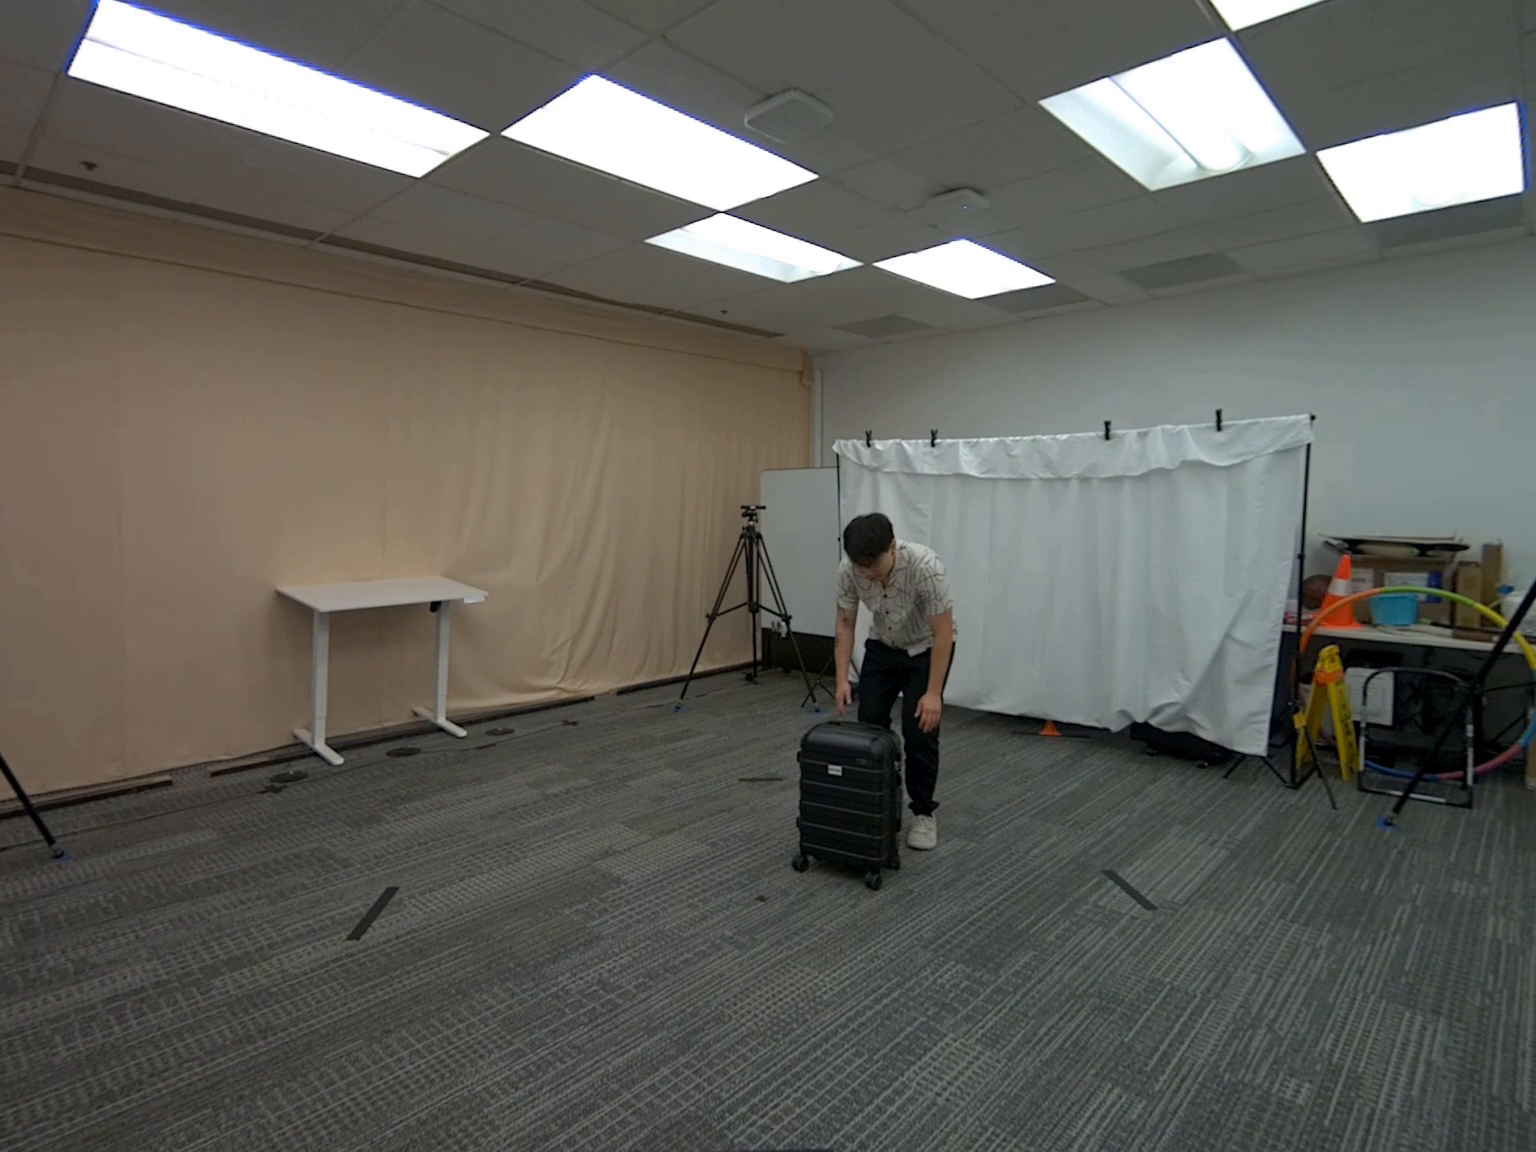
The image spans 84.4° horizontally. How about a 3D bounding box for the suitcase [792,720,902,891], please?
[{"bbox_3d":[0.319,0.846,3.225,0.386,0.548,0.241,3,3,29],"label":"suitcase"}]
